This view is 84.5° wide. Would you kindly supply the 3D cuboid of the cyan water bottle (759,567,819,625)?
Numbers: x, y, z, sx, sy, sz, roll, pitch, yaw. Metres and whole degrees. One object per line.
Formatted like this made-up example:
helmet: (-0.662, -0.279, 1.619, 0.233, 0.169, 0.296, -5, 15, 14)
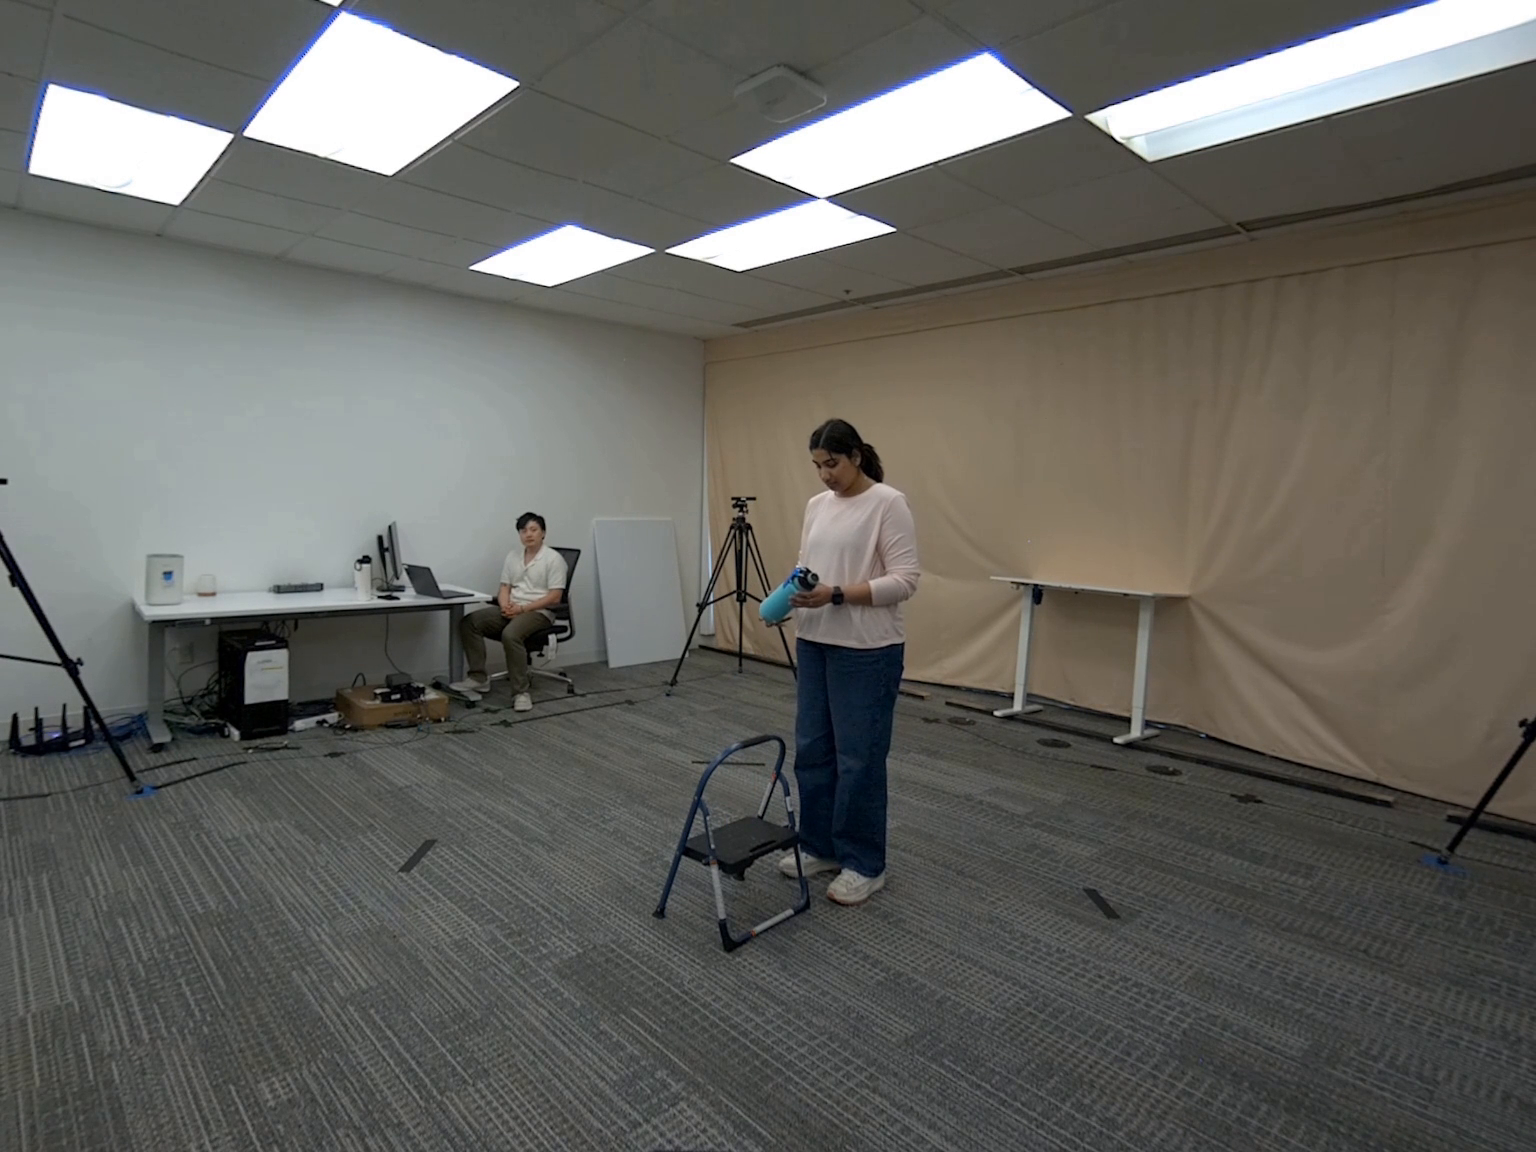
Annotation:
cyan water bottle: (0.060, 0.066, 2.829, 0.090, 0.094, 0.282, 0, -31, -30)
